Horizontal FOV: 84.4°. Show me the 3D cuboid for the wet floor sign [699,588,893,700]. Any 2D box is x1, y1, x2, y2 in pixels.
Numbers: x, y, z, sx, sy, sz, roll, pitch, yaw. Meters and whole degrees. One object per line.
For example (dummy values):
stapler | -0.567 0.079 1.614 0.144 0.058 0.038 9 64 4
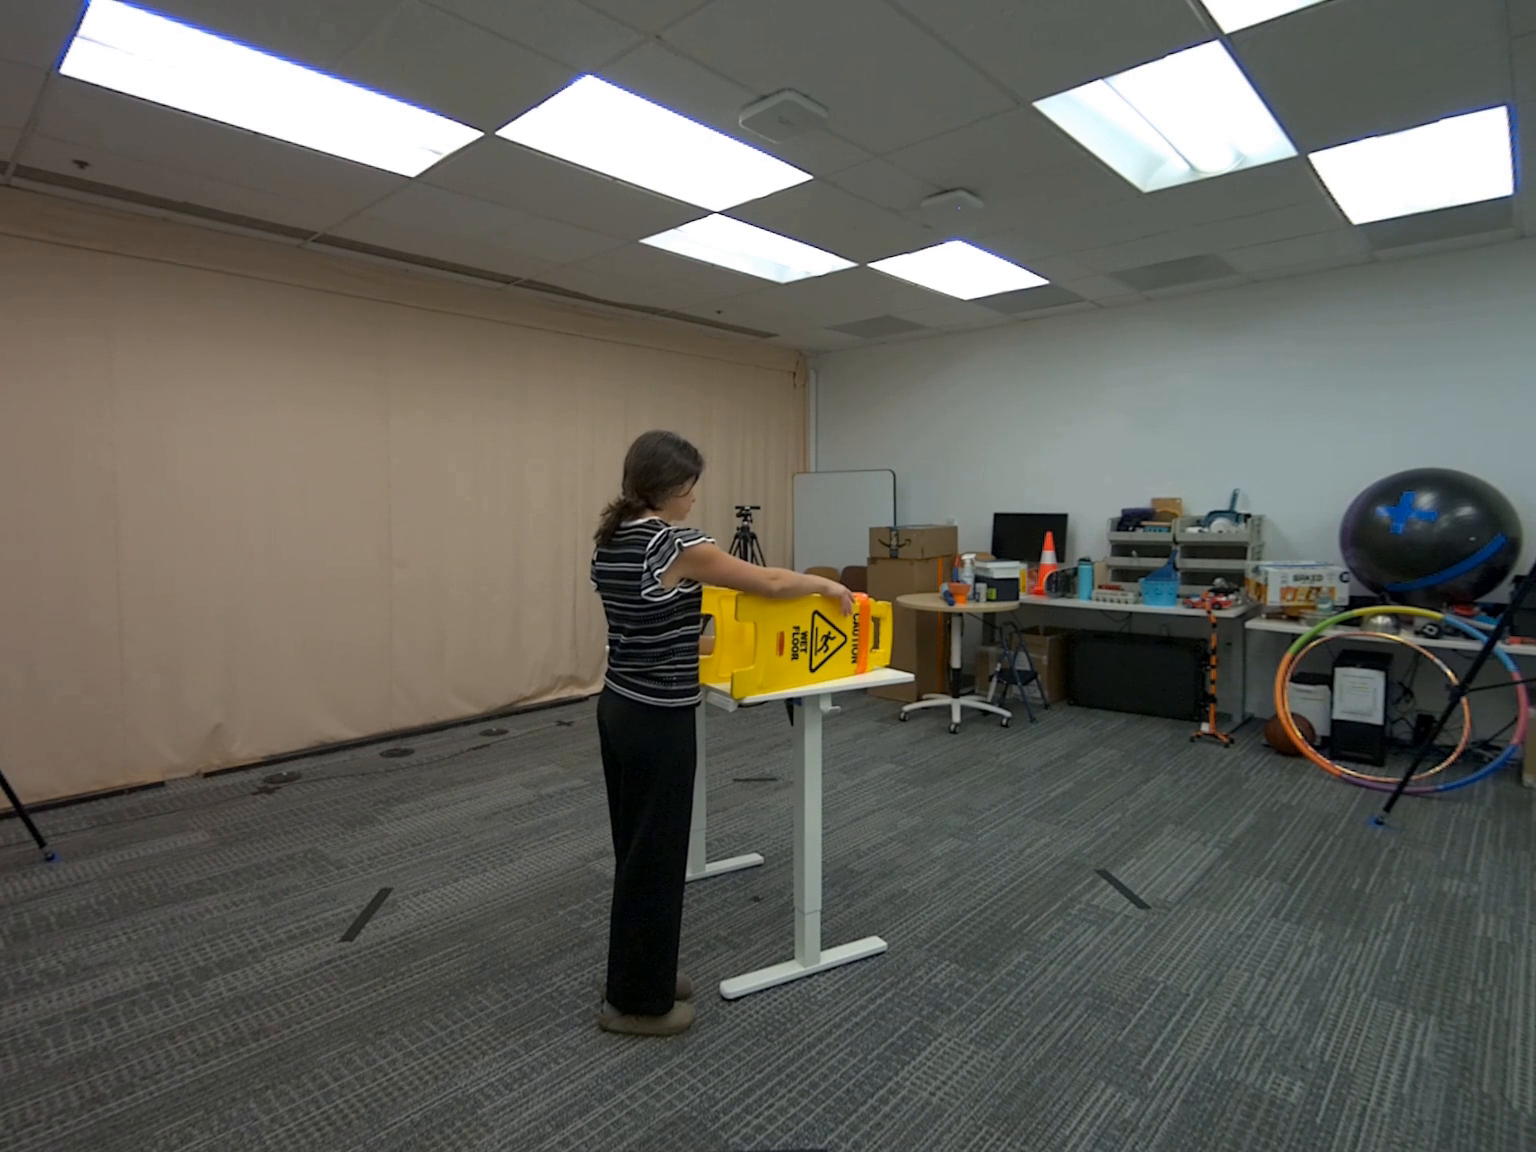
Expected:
wet floor sign | 0.117 0.179 2.464 0.627 0.282 0.298 1 2 -33
